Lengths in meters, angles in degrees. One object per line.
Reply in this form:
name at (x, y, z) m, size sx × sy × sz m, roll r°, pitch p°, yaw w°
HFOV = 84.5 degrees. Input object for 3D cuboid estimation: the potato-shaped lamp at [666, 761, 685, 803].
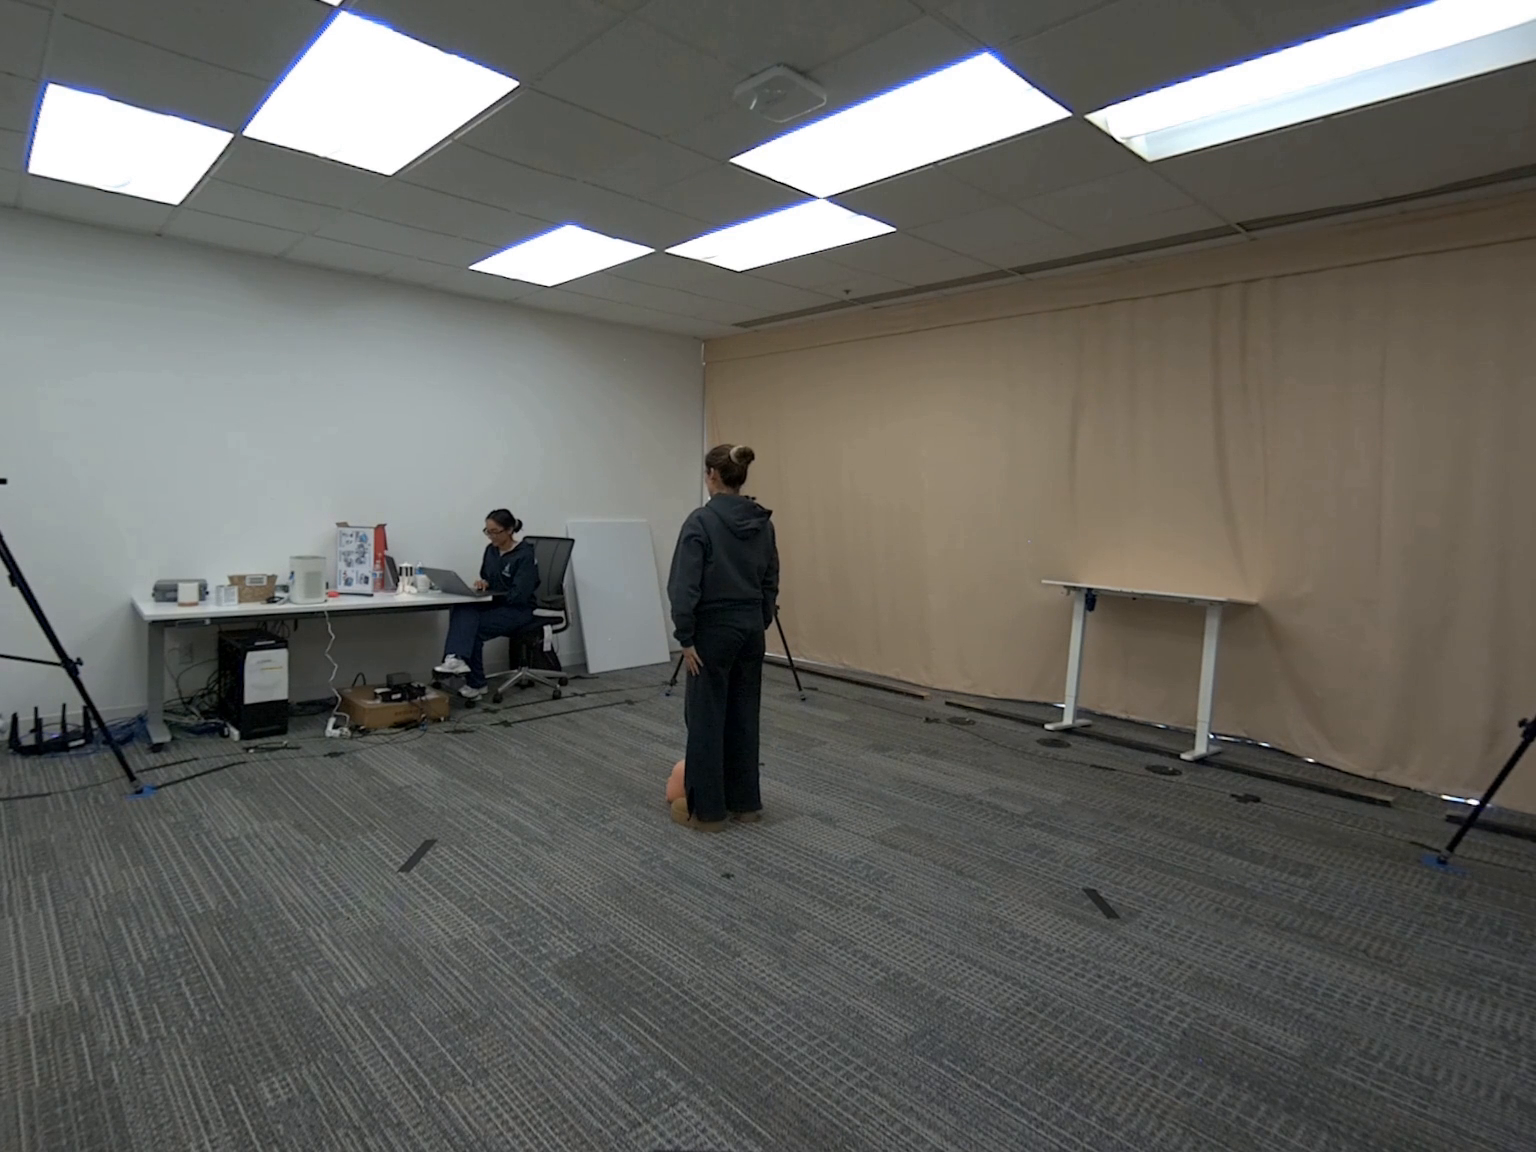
potato-shaped lamp at (-0.387, 0.925, 3.847) m, size 0.176 × 0.197 × 0.161 m, roll 6°, pitch 6°, yaw 41°
